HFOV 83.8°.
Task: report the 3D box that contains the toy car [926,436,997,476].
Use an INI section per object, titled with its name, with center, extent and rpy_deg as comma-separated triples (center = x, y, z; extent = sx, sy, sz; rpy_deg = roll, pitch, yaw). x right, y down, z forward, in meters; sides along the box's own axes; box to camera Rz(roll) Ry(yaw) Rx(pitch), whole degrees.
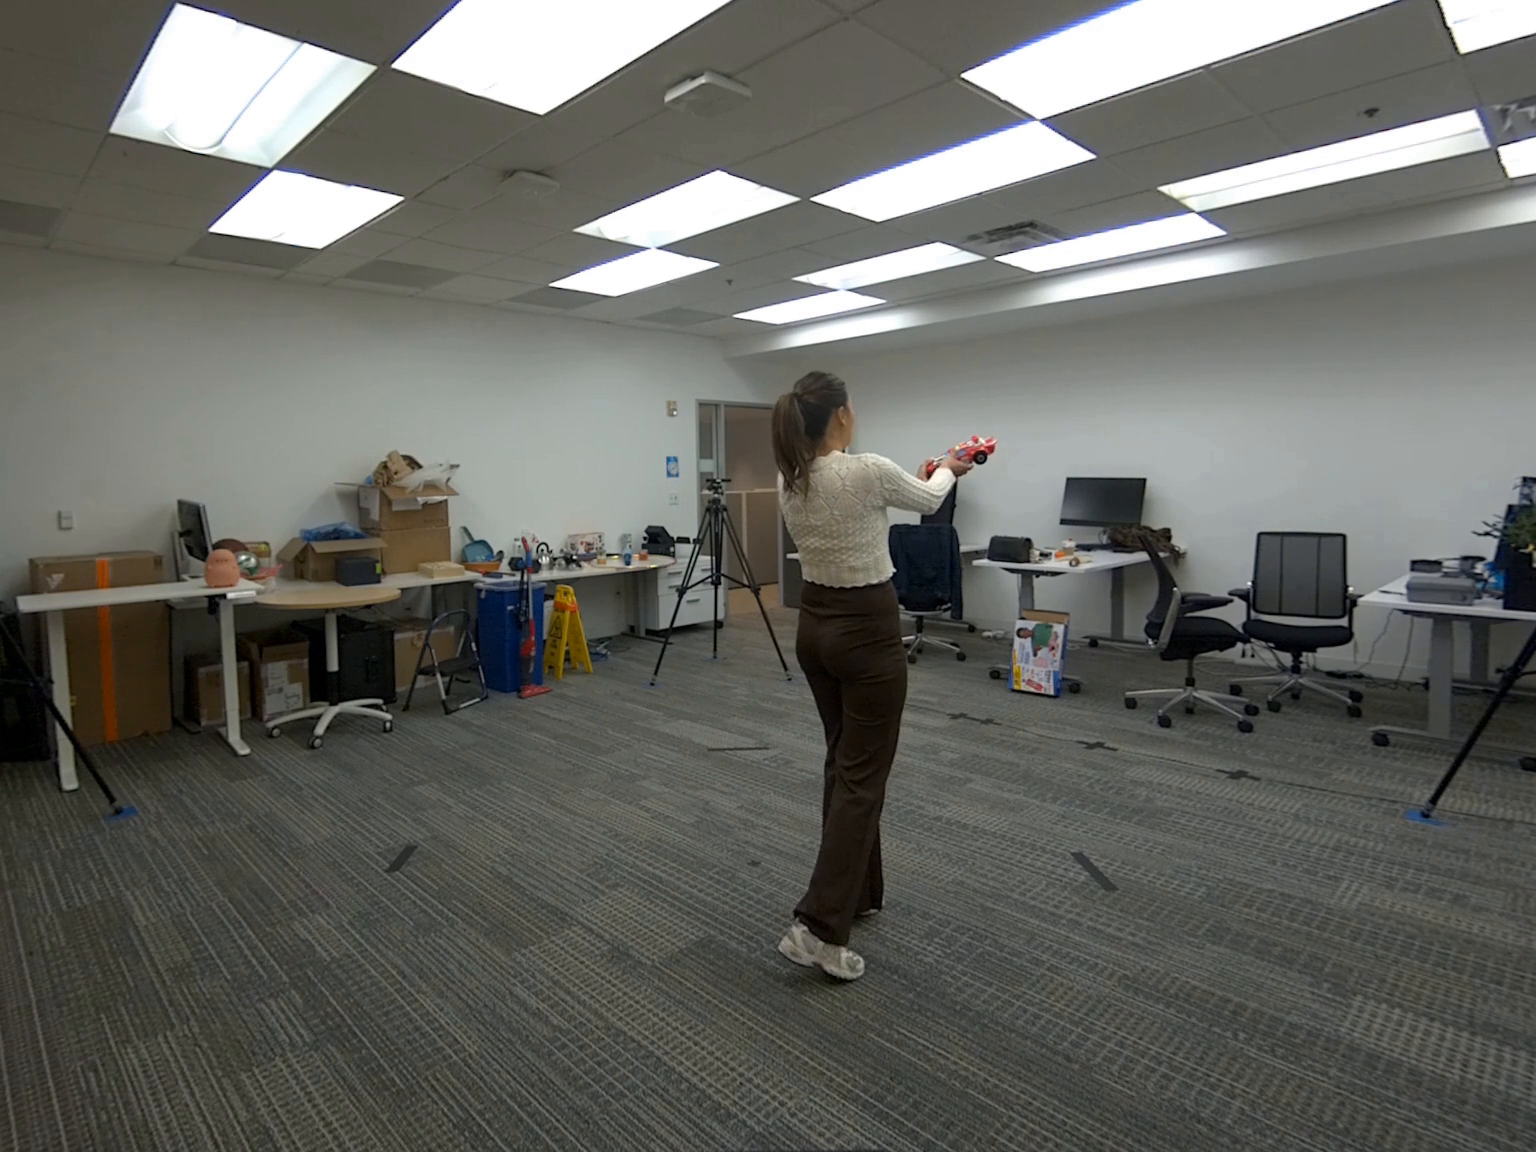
[toy car]
center = 0.674, -0.413, 2.962
extent = 0.255, 0.081, 0.132
rpy_deg = -29, 17, 9
